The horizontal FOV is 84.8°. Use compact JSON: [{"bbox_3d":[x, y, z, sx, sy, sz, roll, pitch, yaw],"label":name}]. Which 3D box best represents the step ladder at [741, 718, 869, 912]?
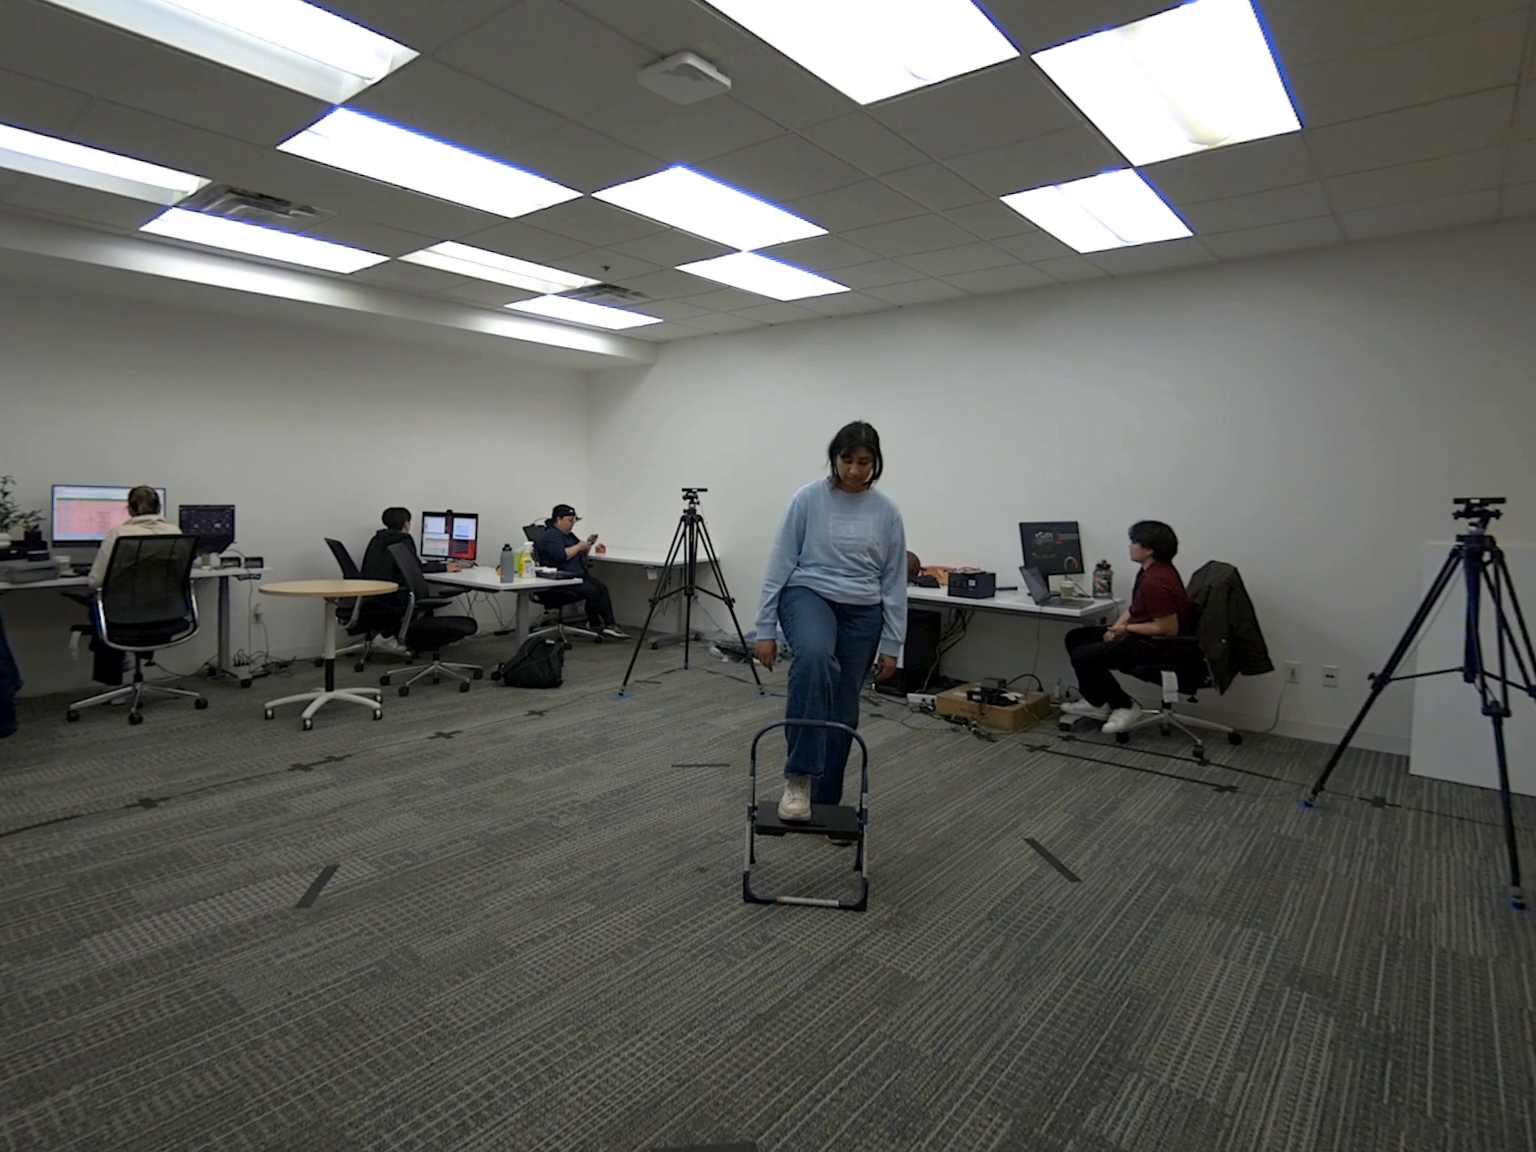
[{"bbox_3d":[0.125,0.788,2.993,0.433,0.604,0.348,1,3,4],"label":"step ladder"}]
